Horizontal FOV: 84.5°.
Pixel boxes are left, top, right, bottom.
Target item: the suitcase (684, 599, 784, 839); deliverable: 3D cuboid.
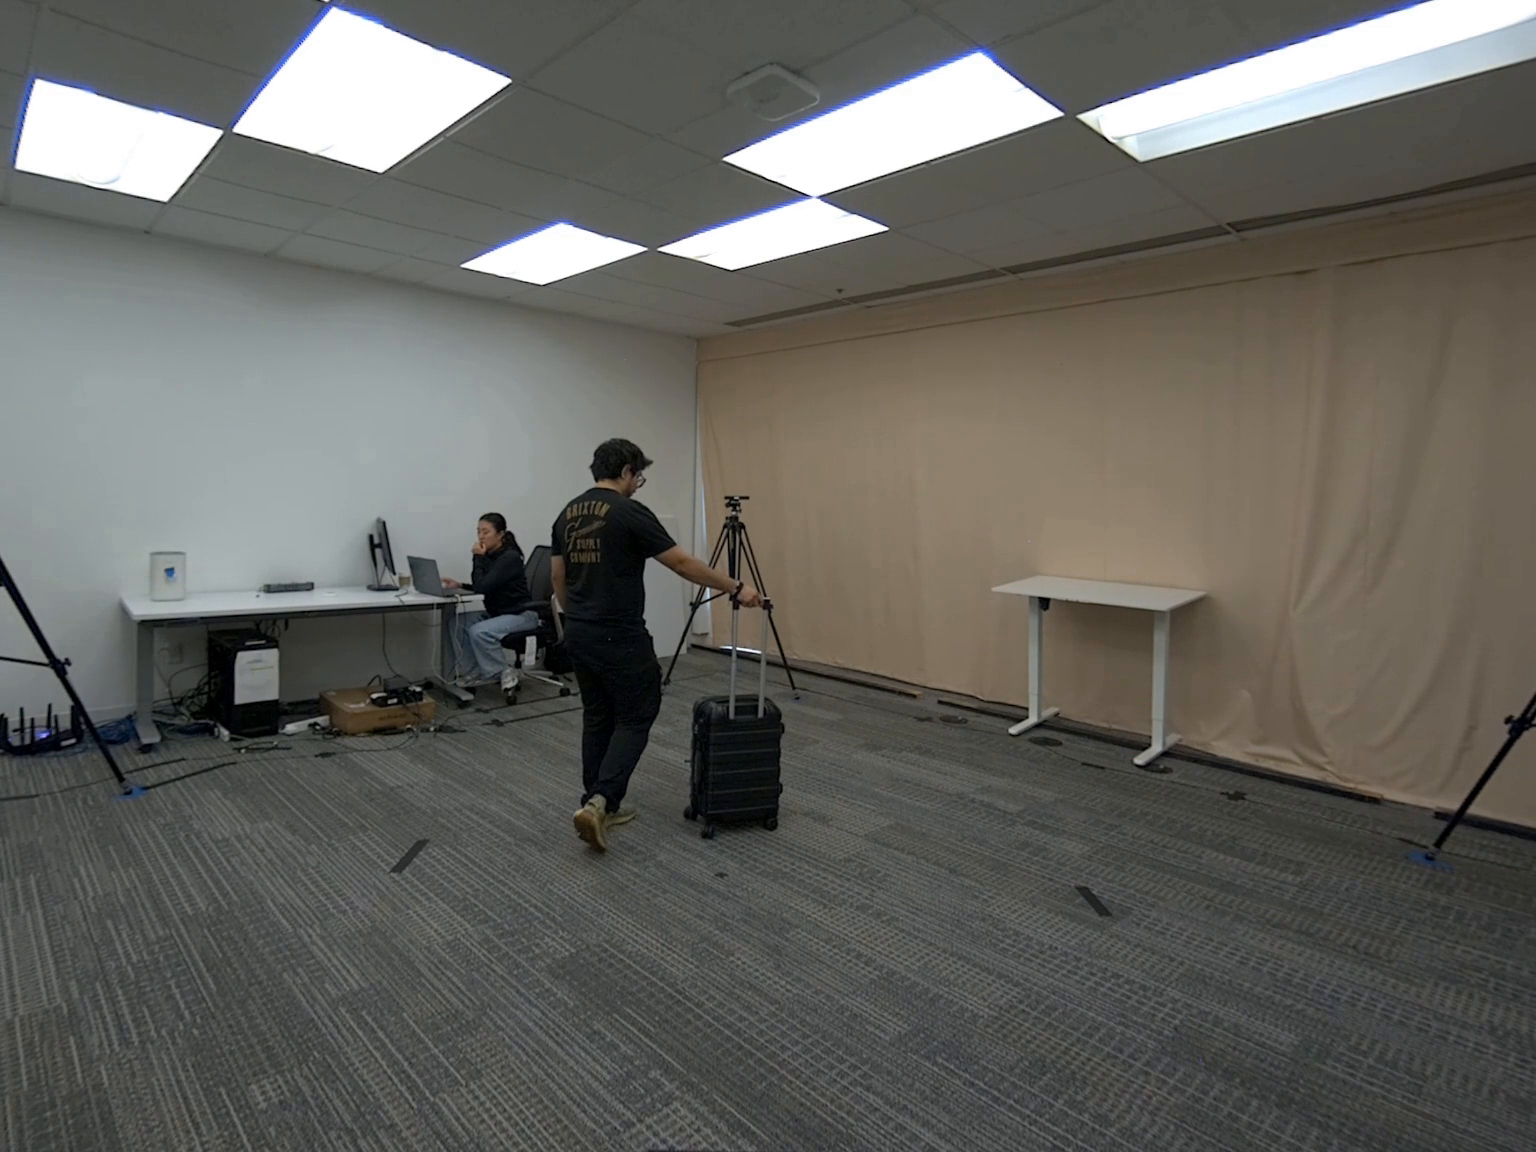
[{"bbox_3d":[-0.144,0.584,3.593,0.378,0.979,0.261,2,0,-20],"label":"suitcase"}]
